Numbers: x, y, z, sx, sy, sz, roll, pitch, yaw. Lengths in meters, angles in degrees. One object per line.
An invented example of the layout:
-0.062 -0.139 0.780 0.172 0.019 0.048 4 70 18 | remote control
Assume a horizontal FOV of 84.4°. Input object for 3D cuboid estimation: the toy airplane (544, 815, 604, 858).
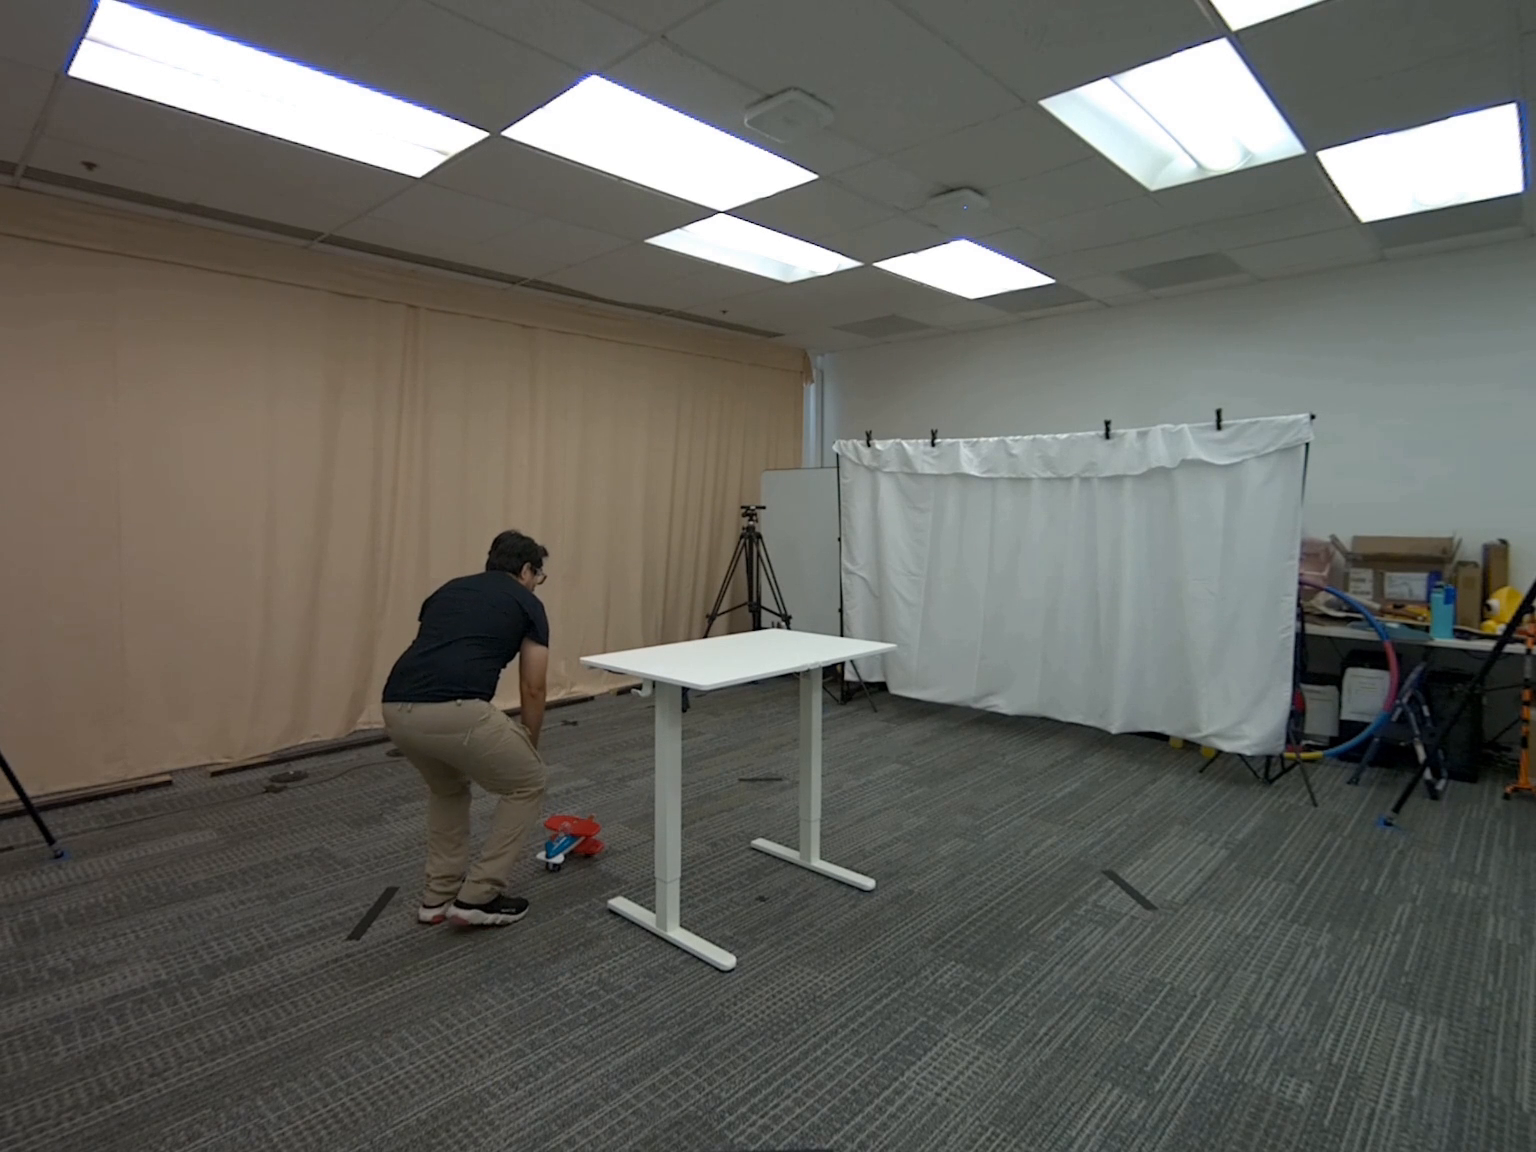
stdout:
-0.768 1.051 3.302 0.251 0.156 0.260 -2 3 -2 | toy airplane
